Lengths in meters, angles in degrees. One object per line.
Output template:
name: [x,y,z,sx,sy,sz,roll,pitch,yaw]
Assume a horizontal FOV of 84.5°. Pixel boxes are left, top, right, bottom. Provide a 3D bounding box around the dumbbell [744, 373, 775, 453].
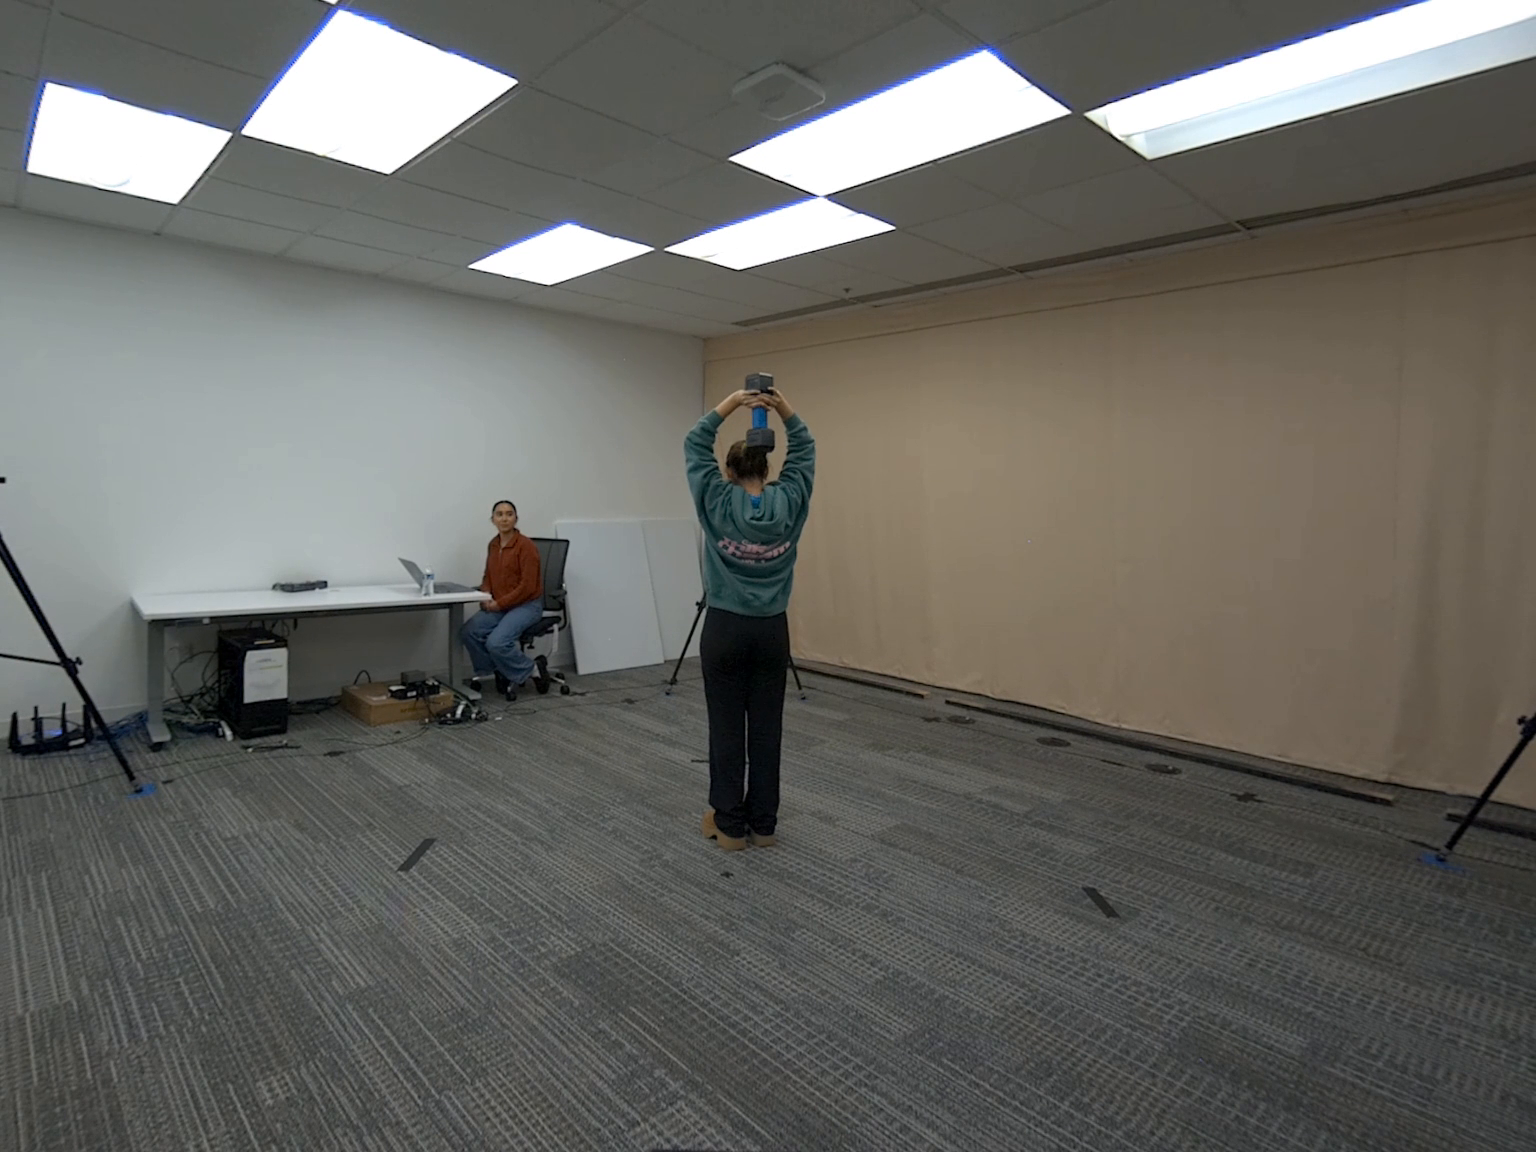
dumbbell: [-0.042,-0.617,3.207,0.108,0.296,0.123,-1,-9,-7]
